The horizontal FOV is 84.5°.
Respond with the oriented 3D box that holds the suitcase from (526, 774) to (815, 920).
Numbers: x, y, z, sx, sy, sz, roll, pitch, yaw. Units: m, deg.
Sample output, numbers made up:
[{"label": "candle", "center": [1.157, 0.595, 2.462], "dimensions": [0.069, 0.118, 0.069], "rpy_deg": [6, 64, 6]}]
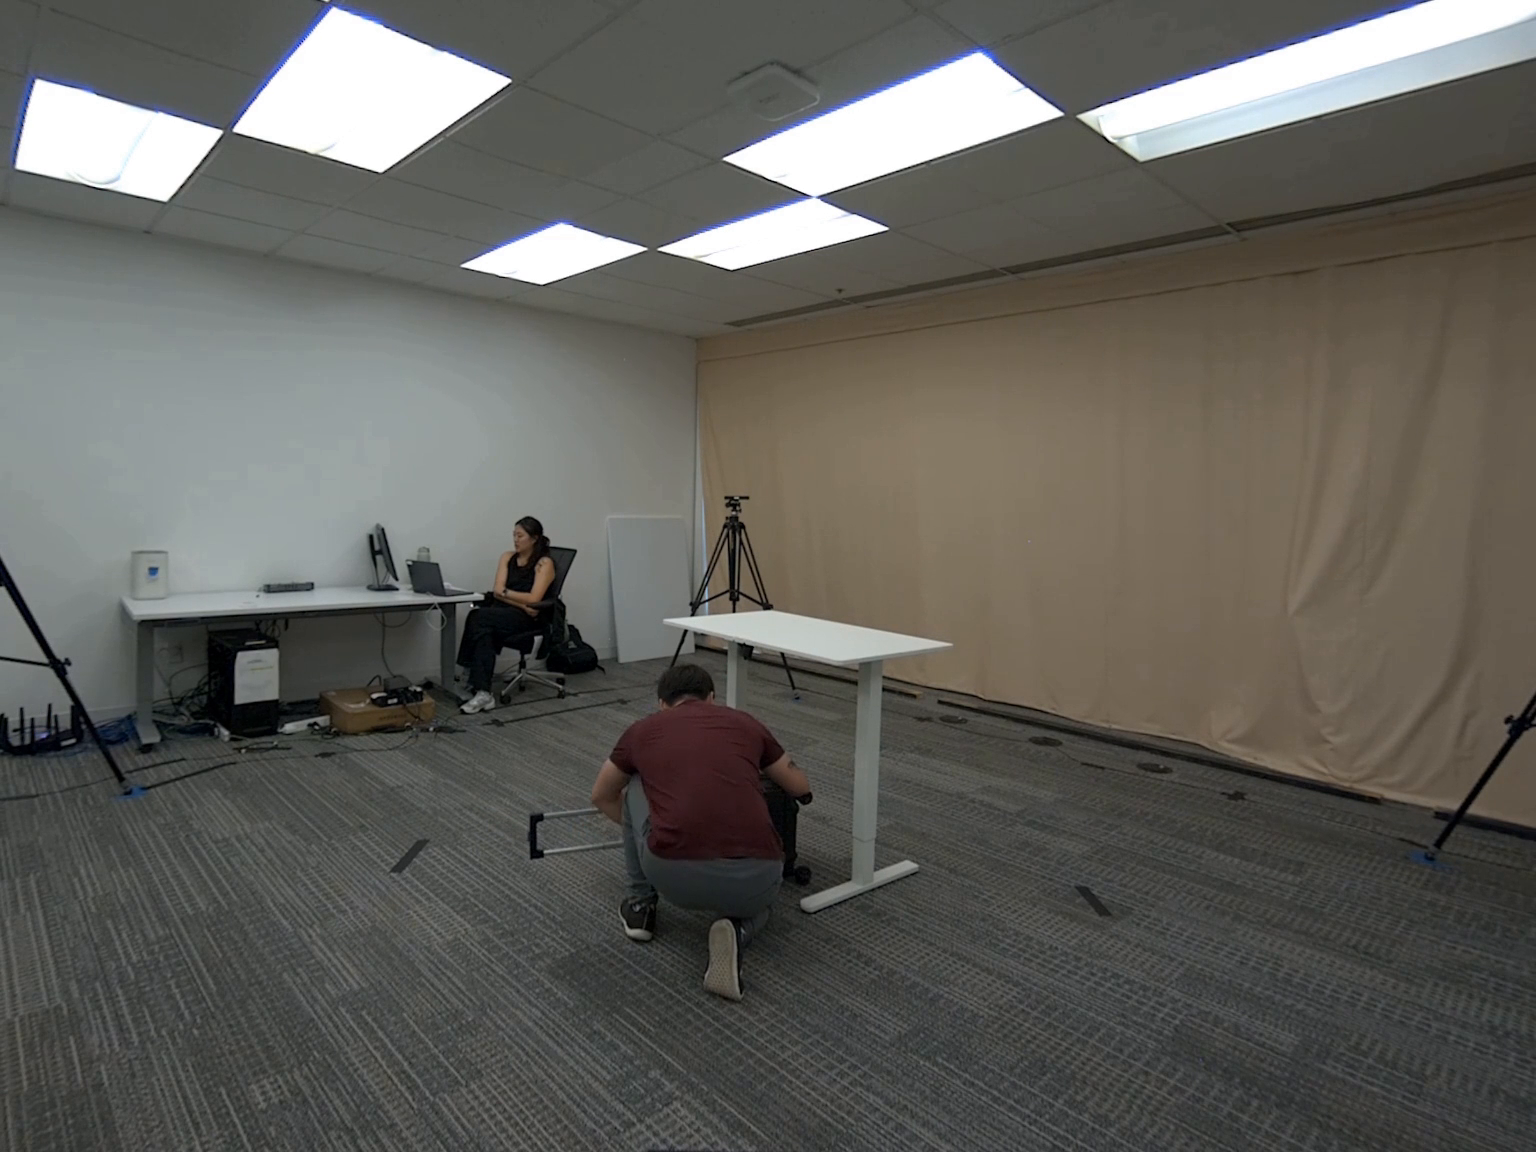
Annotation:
[{"label": "suitcase", "center": [-0.342, 0.915, 3.009], "dimensions": [0.964, 0.384, 0.261], "rpy_deg": [1, 0, -19]}]
